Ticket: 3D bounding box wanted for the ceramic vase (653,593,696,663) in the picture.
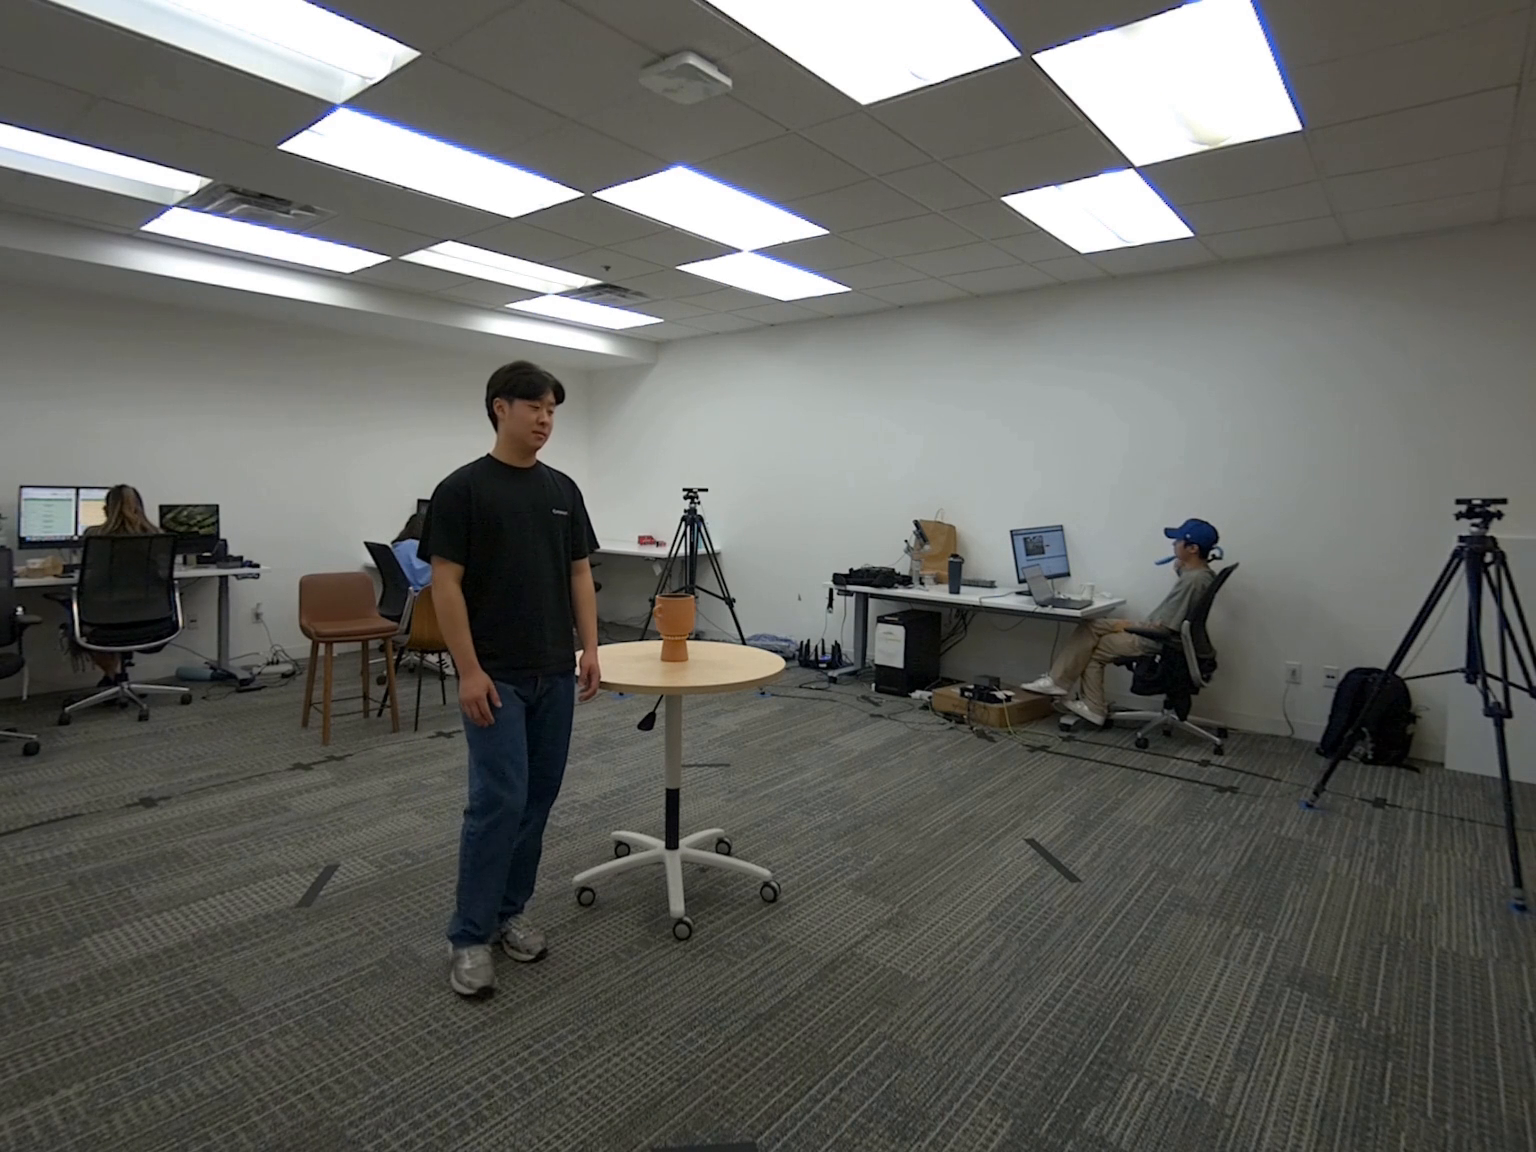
[{"bbox_3d":[-0.334,0.180,2.945,0.157,0.219,0.136,0,4,-8],"label":"ceramic vase"}]
